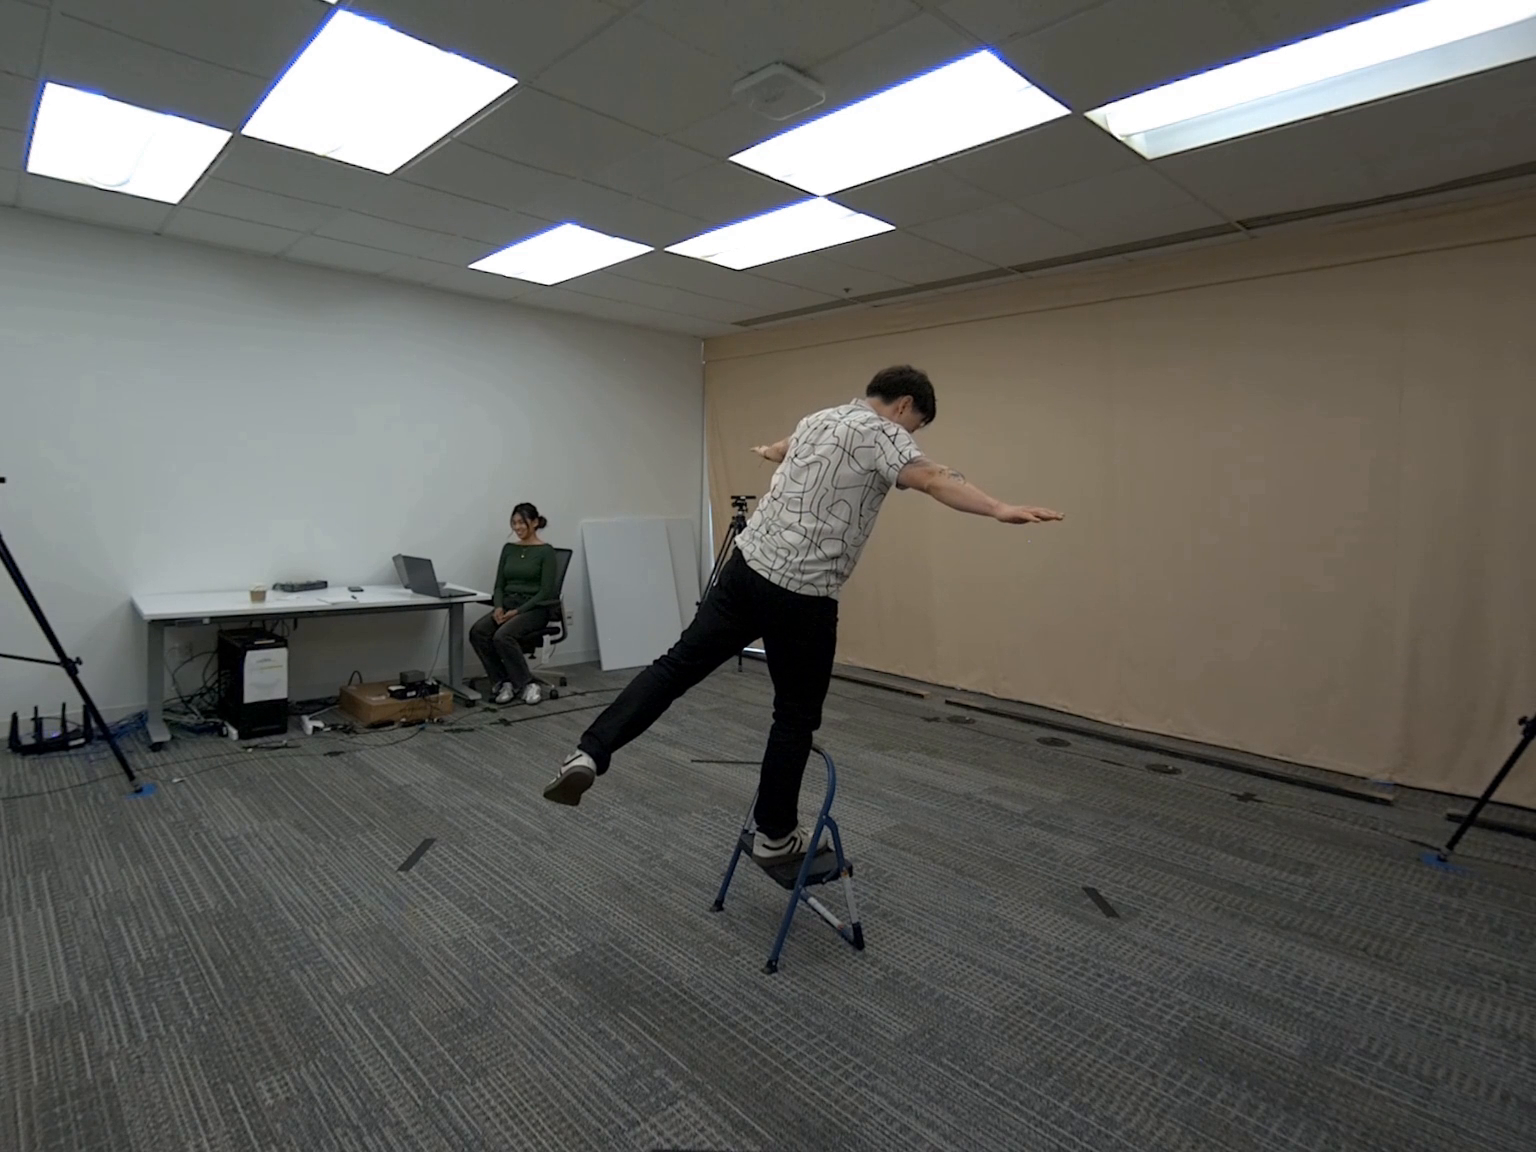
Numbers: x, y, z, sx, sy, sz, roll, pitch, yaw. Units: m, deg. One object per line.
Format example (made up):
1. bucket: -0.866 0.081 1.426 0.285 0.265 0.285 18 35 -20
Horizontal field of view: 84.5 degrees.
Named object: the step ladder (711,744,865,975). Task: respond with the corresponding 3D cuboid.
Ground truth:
1. step ladder: 0.057 0.841 2.703 0.343 0.604 0.440 -1 5 -27
